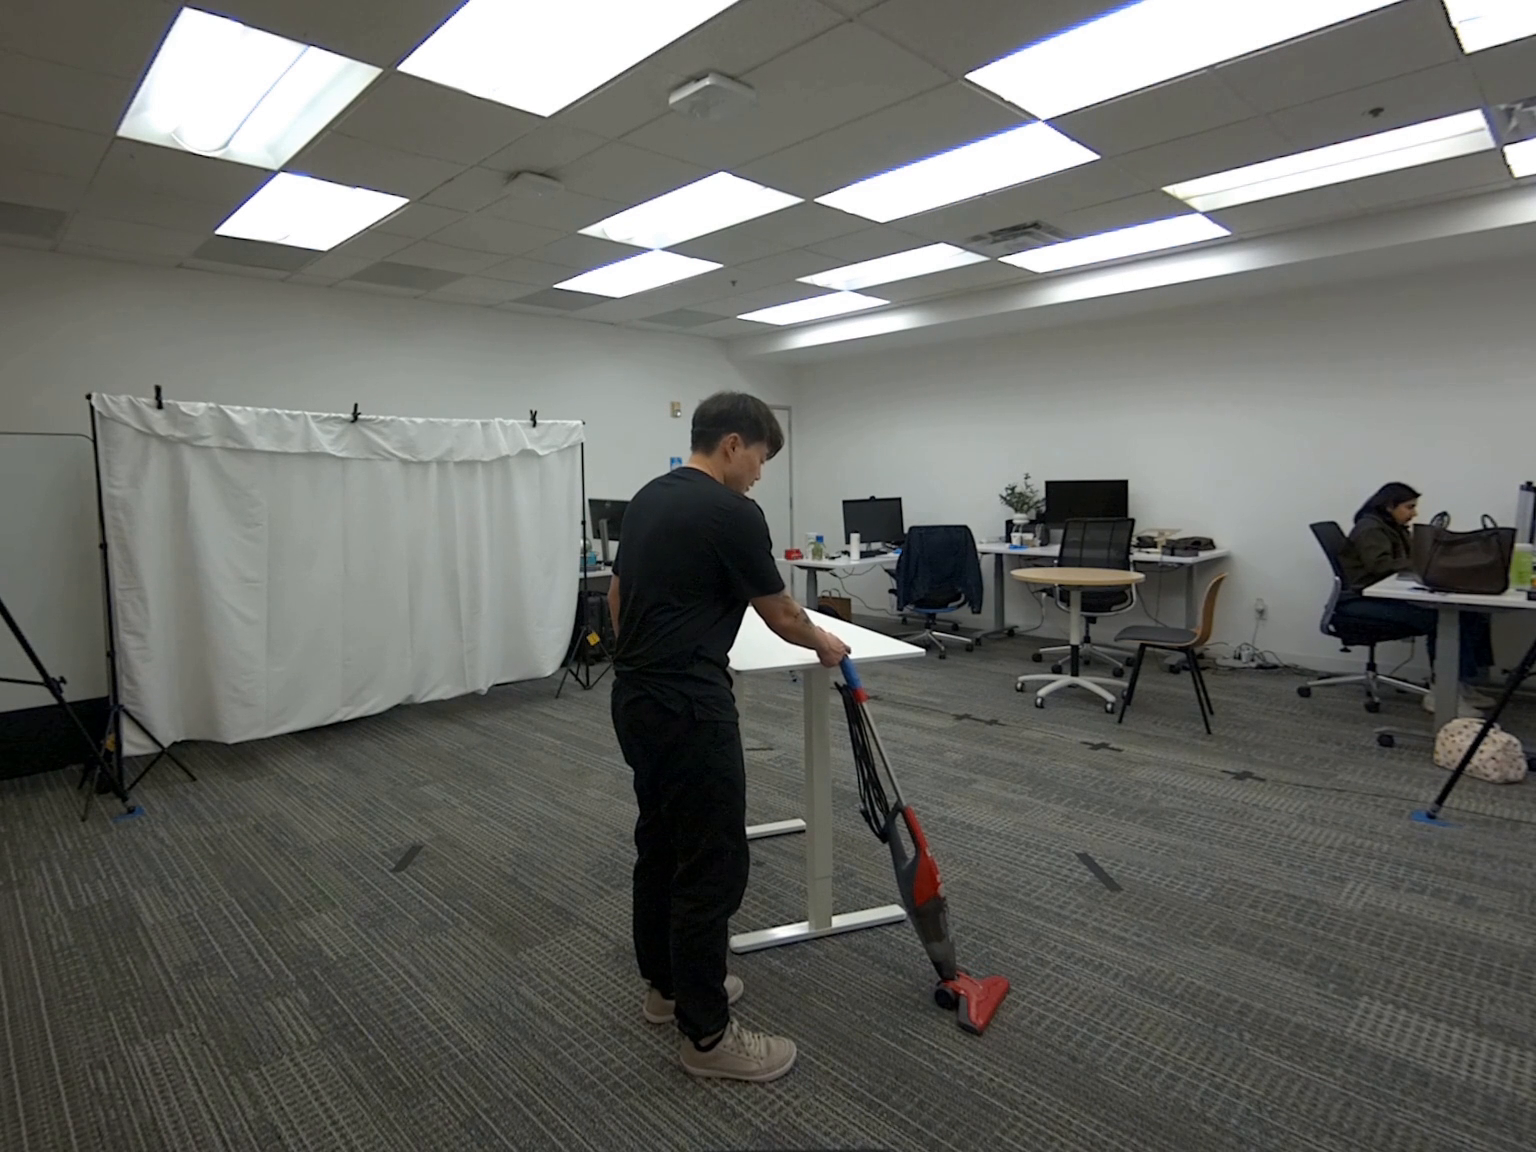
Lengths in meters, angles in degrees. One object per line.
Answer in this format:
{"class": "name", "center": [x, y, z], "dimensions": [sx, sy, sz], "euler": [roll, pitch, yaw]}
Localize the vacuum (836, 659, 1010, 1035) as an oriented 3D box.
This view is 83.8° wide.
{"class": "vacuum", "center": [0.351, 0.650, 2.358], "dimensions": [0.146, 1.062, 0.246], "euler": [-27, -12, 31]}
